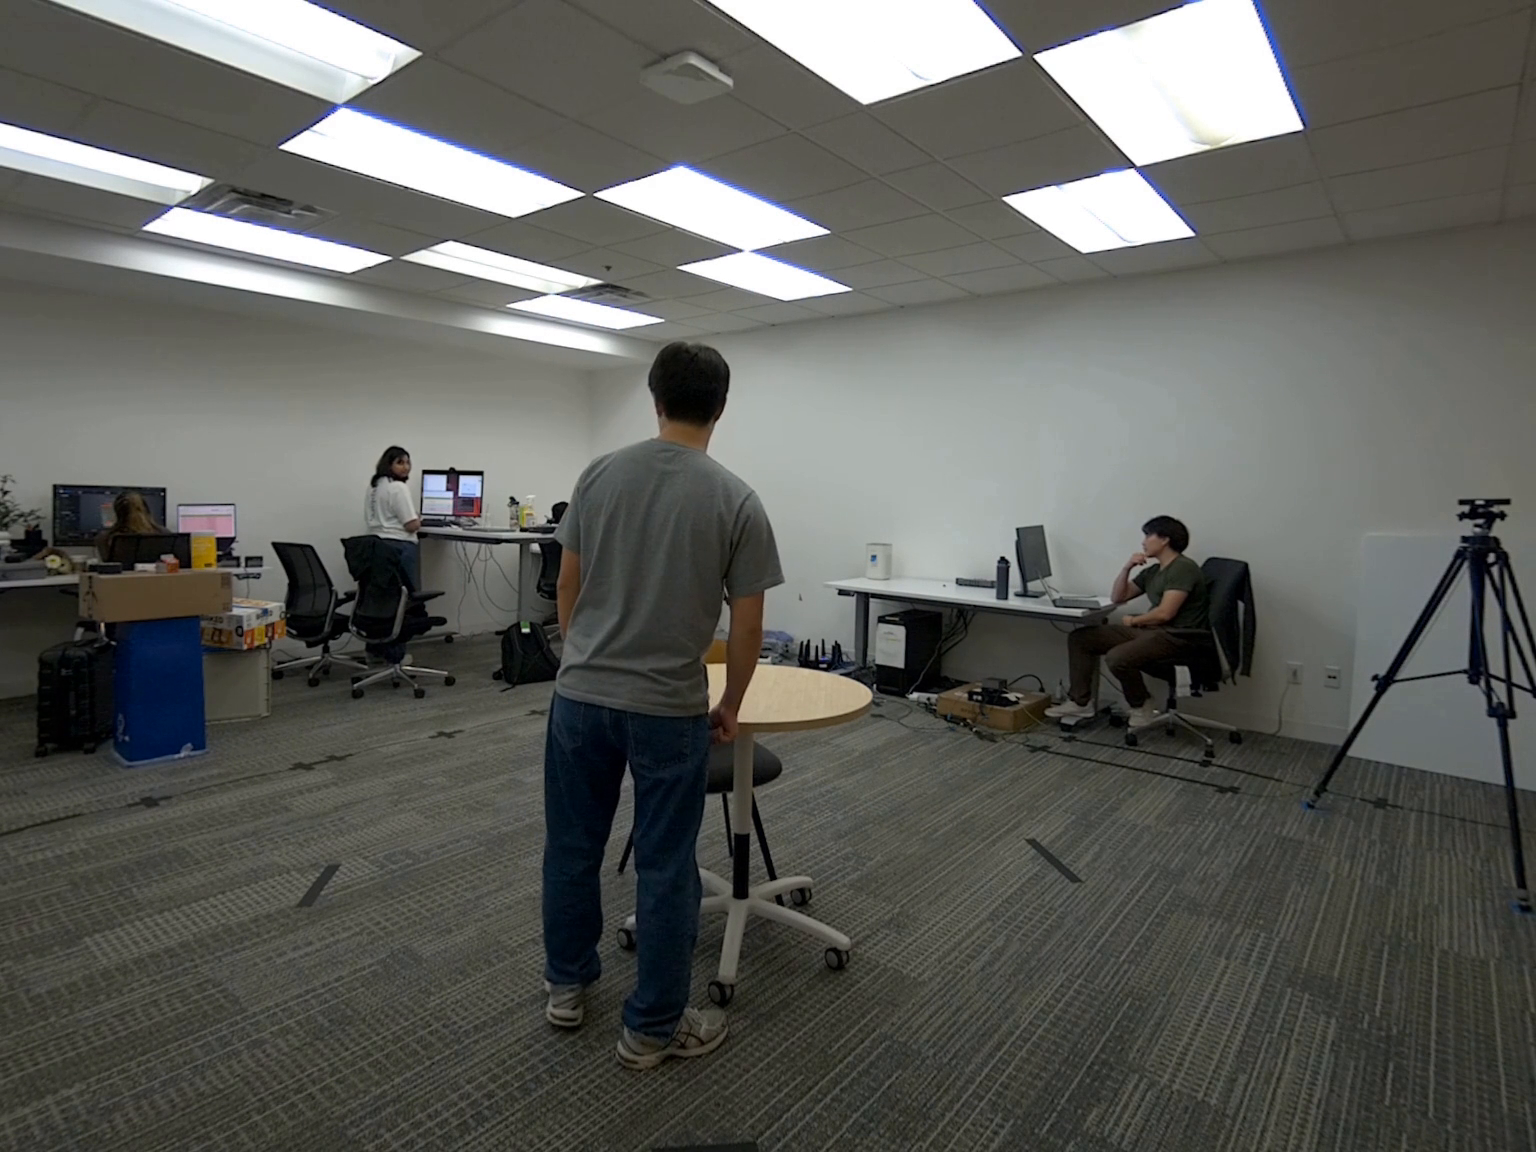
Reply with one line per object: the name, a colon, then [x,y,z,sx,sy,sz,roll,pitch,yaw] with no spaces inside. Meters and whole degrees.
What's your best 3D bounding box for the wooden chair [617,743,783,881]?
wooden chair: [-0.247,0.656,2.913,0.467,0.878,0.534,0,-1,-23]
